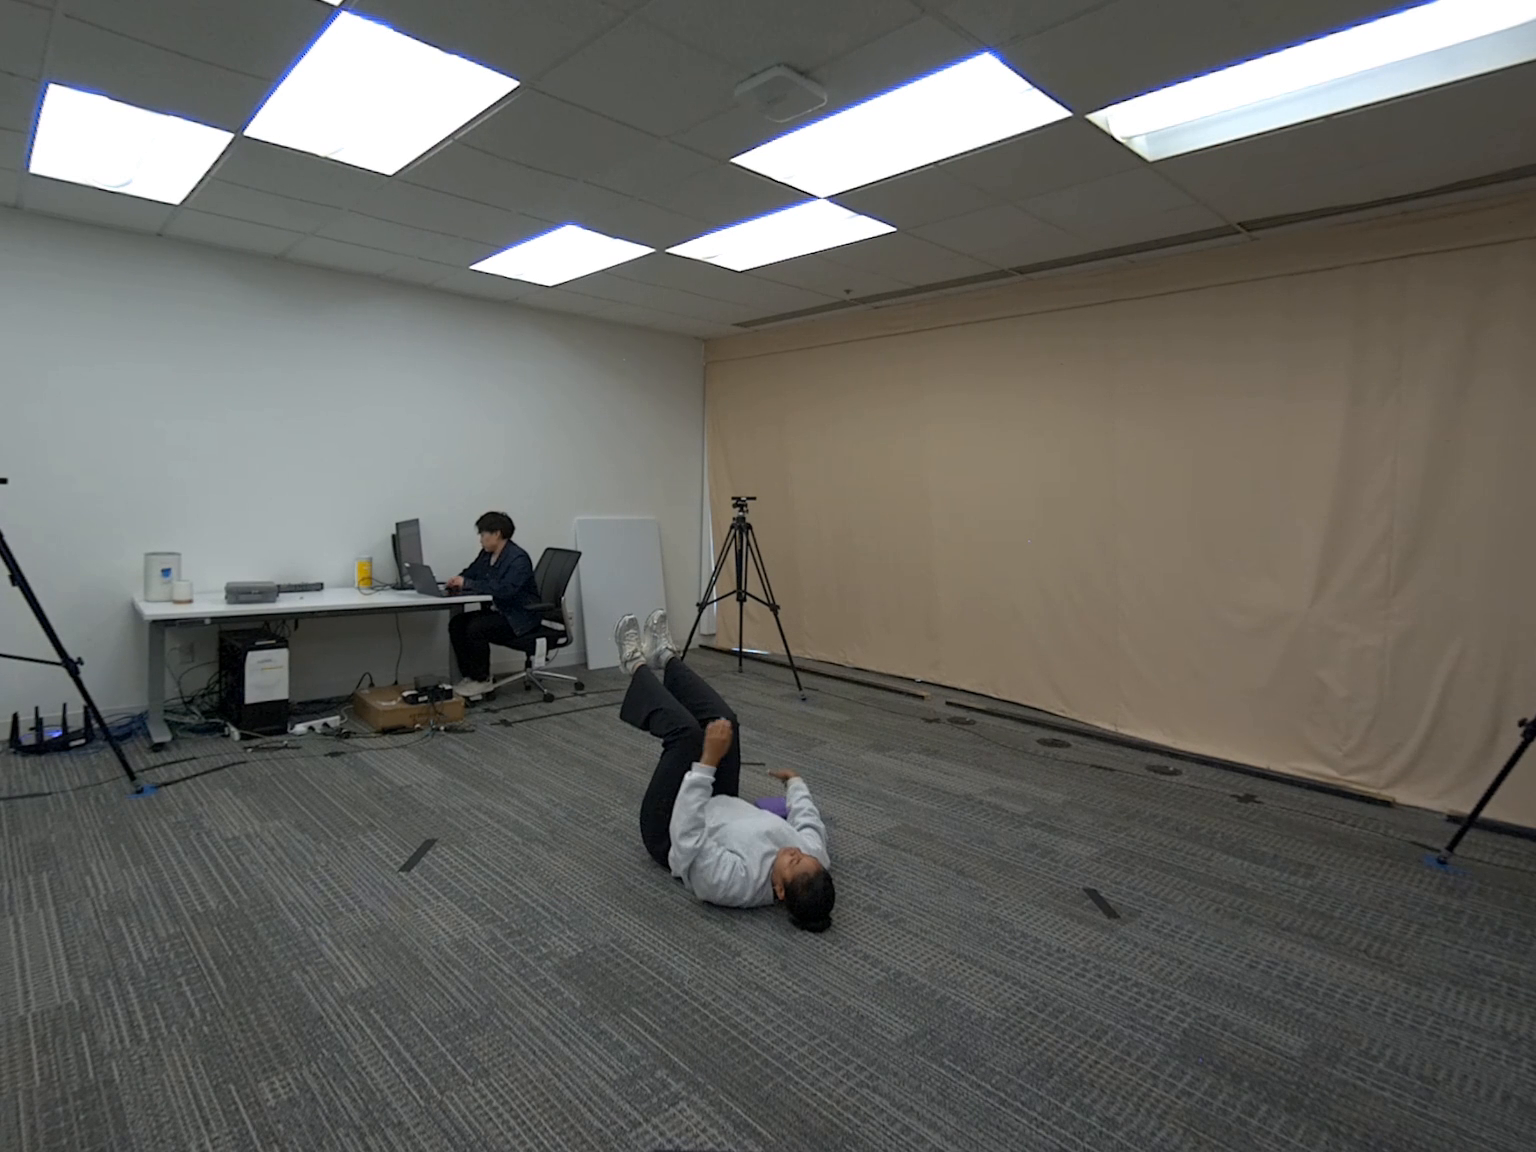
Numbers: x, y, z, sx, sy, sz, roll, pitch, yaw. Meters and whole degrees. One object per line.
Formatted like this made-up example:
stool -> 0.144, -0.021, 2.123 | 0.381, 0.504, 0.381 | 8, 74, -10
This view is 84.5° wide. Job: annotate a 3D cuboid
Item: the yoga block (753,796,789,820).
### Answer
yoga block -> 0.038, 1.028, 3.624 | 0.147, 0.076, 0.233 | -1, 5, -17
